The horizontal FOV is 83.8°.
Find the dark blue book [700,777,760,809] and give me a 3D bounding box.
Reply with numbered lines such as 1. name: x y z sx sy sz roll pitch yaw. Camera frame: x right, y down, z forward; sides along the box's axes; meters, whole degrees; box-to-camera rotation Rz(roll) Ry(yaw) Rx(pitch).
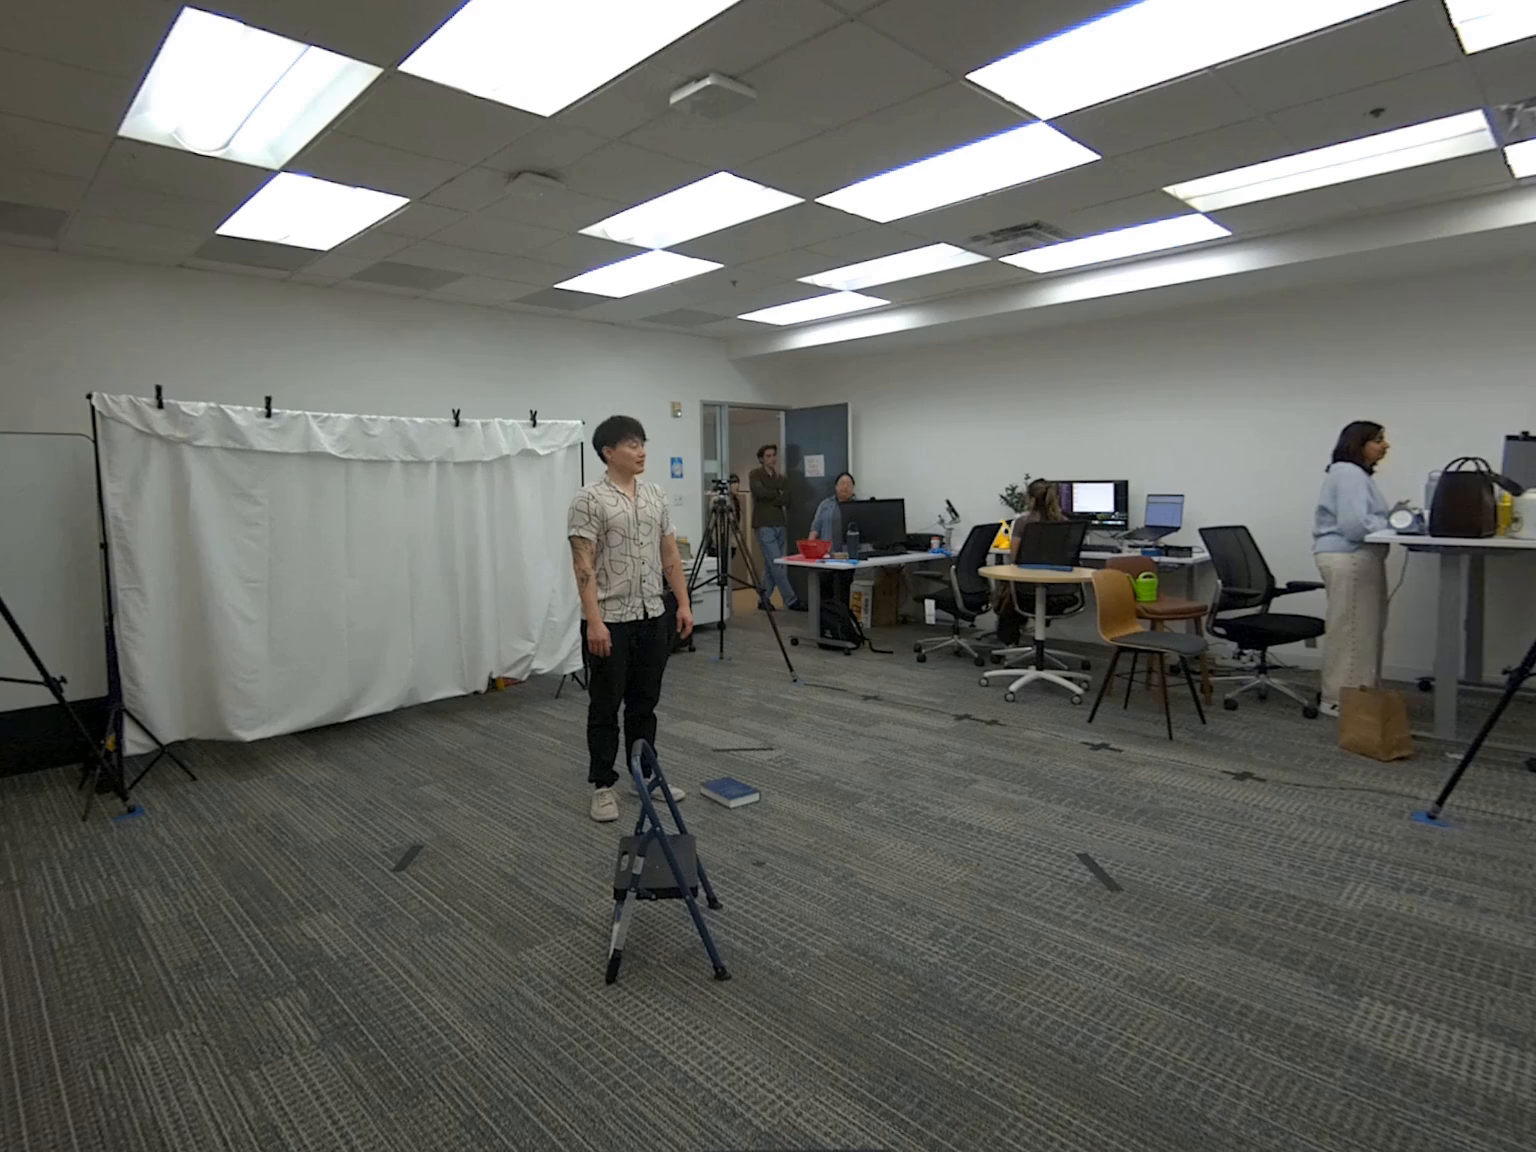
1. dark blue book: -0.172 0.954 3.769 0.159 0.045 0.252 -5 7 -36
